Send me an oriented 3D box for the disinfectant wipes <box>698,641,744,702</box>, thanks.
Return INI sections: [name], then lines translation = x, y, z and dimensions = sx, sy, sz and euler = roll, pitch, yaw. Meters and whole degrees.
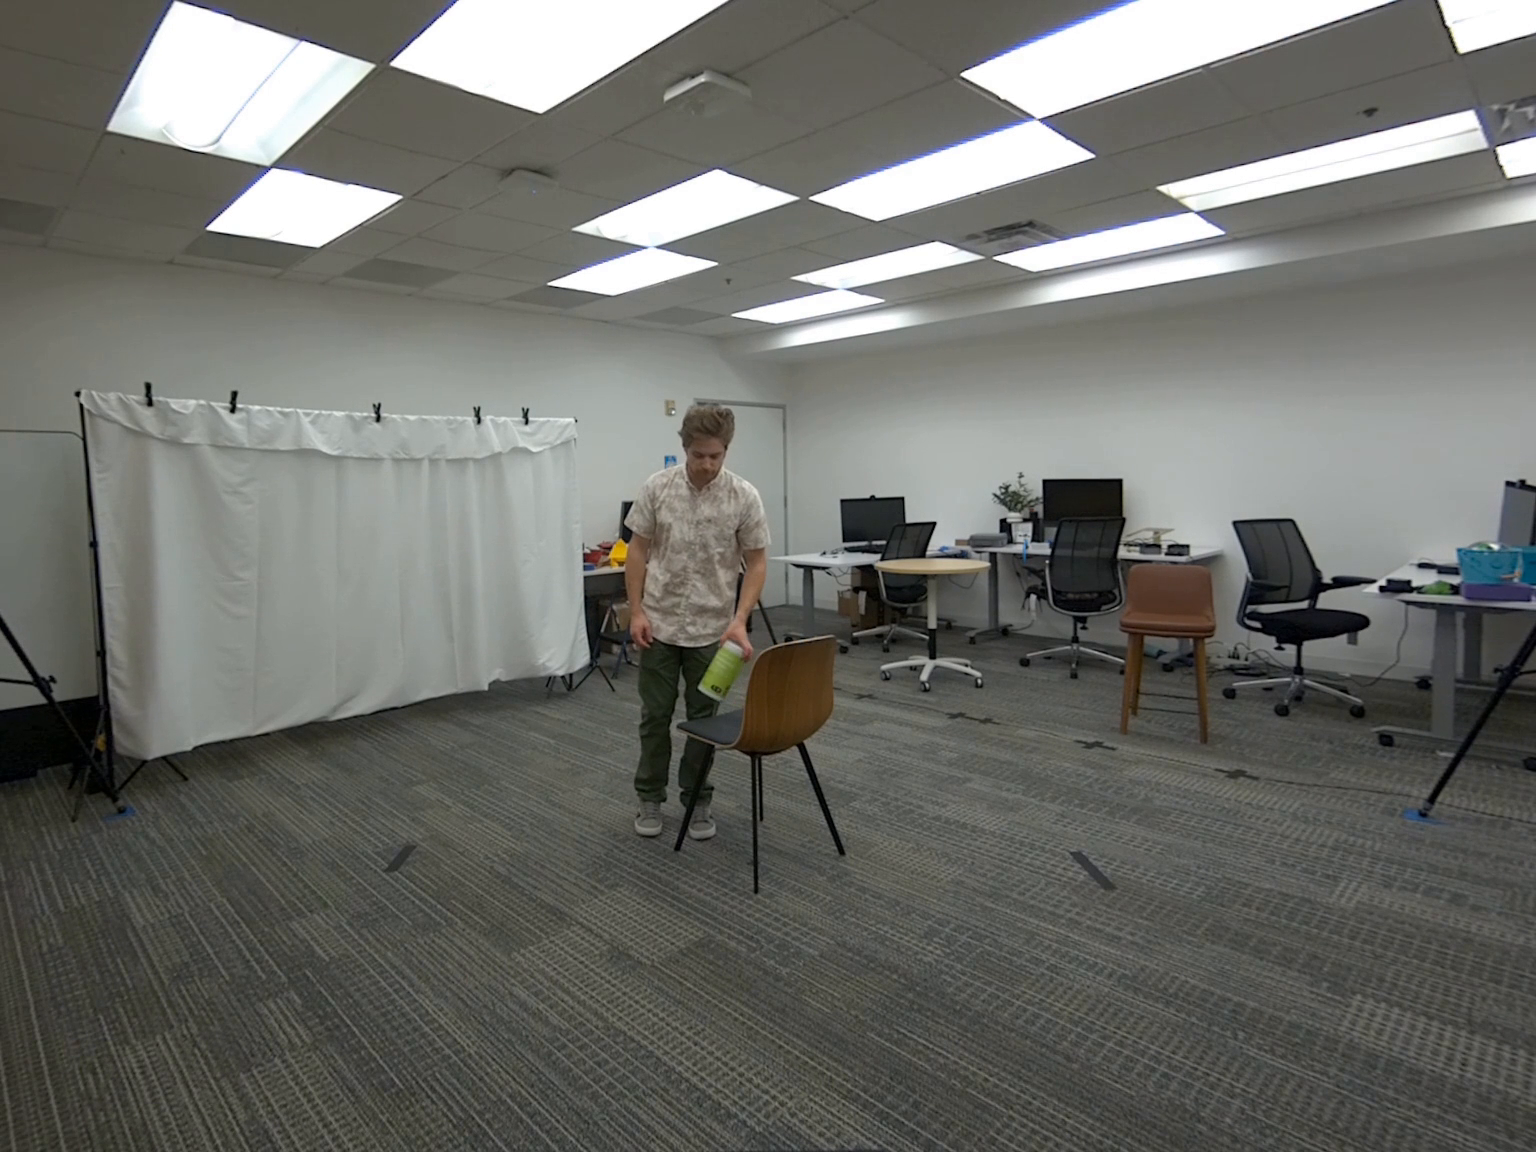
[disinfectant wipes]
translation = -0.167, 0.354, 3.227
dimensions = 0.118, 0.217, 0.118
euler = 25, -2, -1
